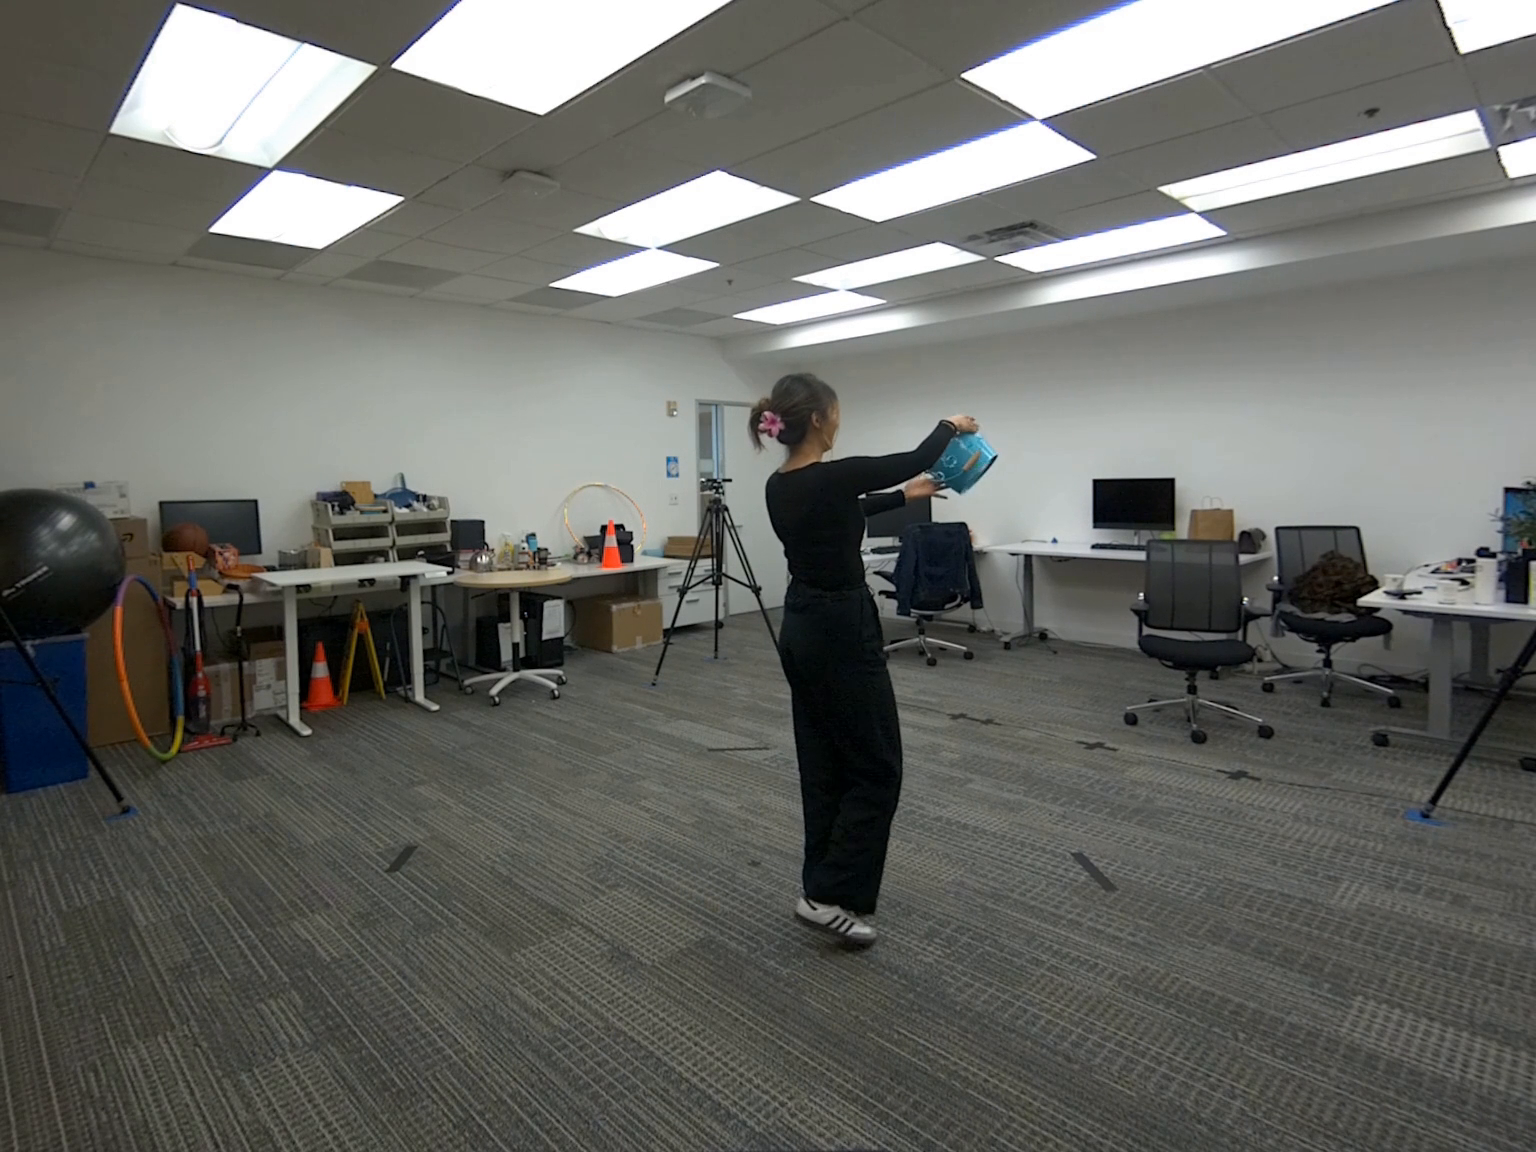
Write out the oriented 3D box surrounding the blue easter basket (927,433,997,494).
[{"bbox_3d":[0.662,-0.392,2.910,0.159,0.243,0.239,44,20,14],"label":"blue easter basket"}]
